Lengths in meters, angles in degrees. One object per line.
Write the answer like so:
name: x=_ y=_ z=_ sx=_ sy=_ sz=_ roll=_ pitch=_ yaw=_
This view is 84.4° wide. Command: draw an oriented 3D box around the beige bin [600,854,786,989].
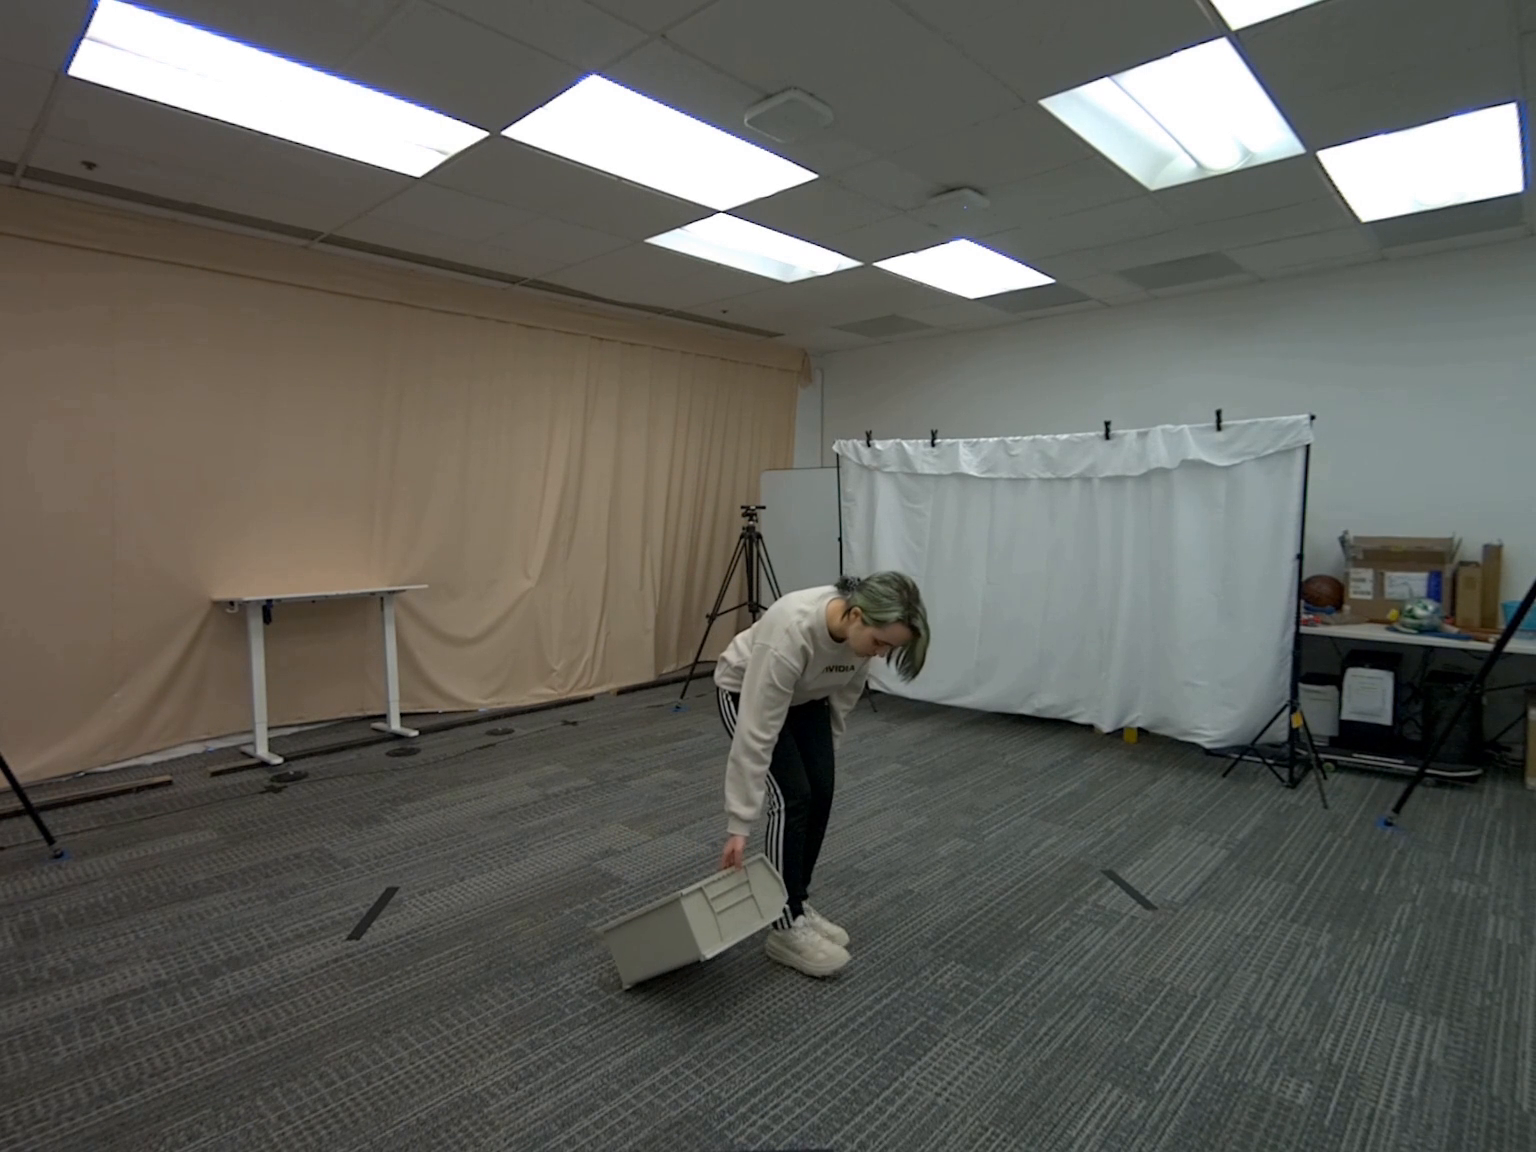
beige bin: x=-0.211 y=1.002 z=2.449 sx=0.366 sy=0.192 sz=0.428 roll=-7 pitch=-23 yaw=-49
